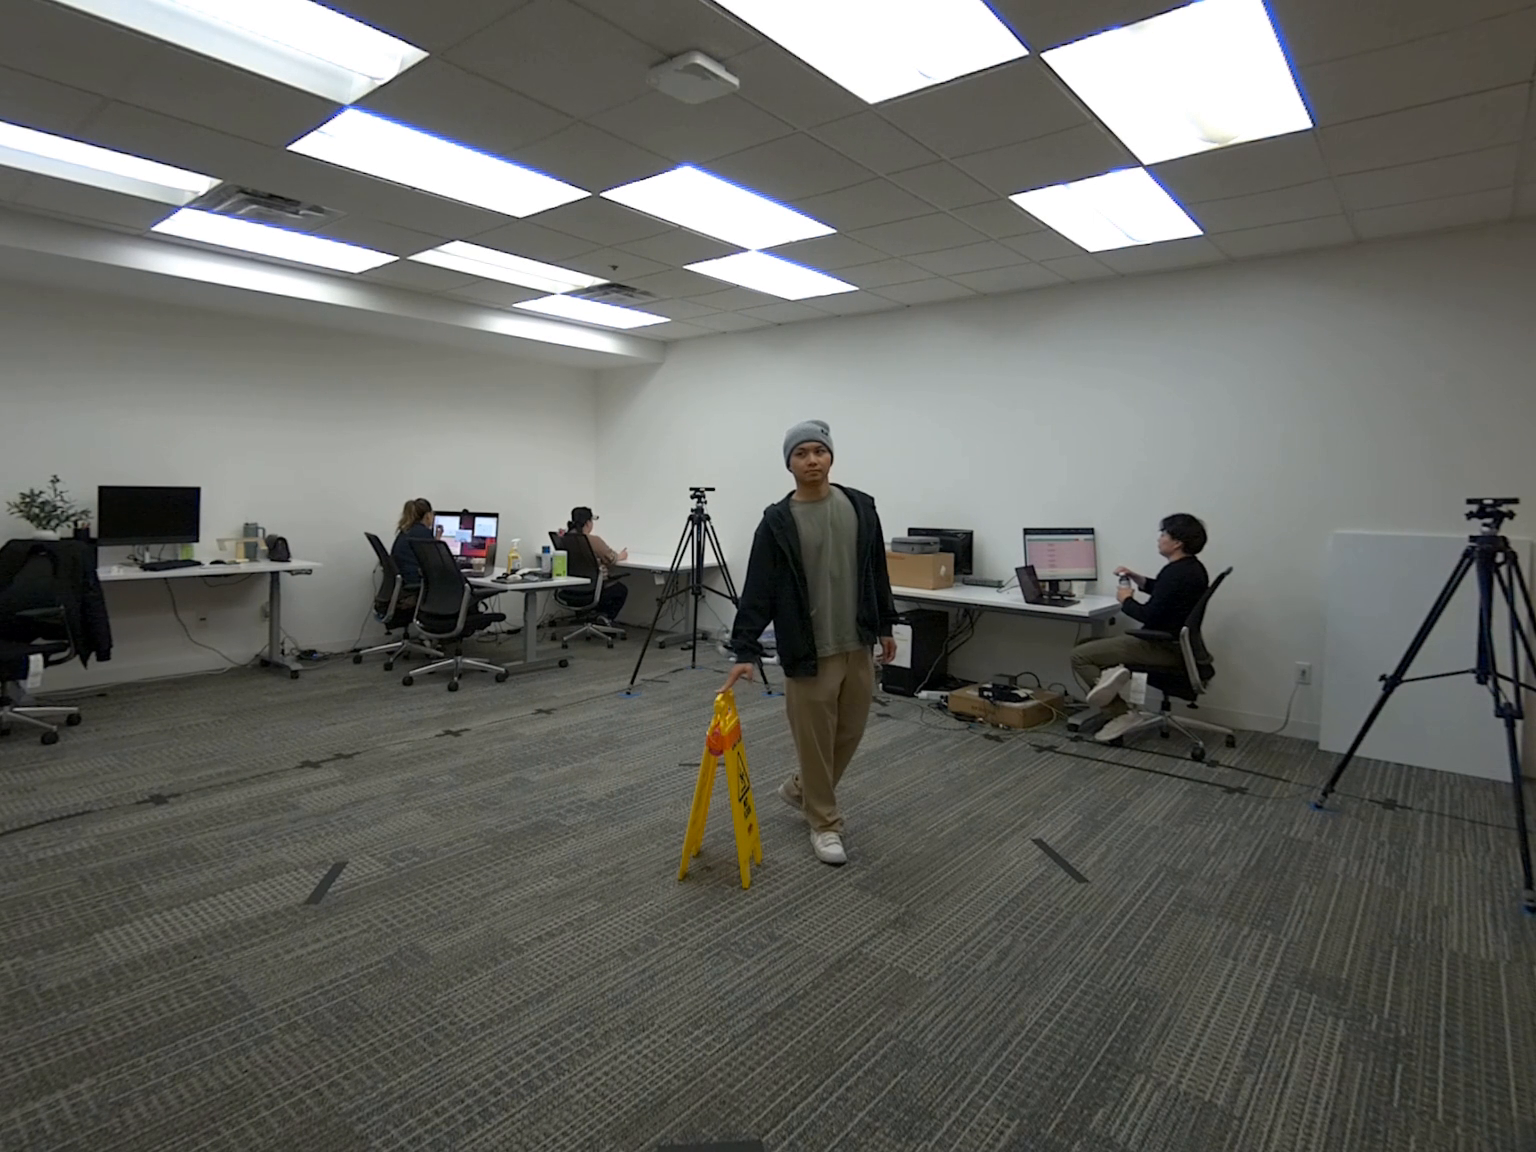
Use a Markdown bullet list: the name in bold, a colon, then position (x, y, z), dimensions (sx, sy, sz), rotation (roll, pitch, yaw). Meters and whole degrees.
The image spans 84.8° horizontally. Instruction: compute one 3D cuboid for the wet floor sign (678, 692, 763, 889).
- **wet floor sign**: position (-0.170, 0.744, 3.091), dimensions (0.294, 0.643, 0.279), rotation (2, 4, 12)
